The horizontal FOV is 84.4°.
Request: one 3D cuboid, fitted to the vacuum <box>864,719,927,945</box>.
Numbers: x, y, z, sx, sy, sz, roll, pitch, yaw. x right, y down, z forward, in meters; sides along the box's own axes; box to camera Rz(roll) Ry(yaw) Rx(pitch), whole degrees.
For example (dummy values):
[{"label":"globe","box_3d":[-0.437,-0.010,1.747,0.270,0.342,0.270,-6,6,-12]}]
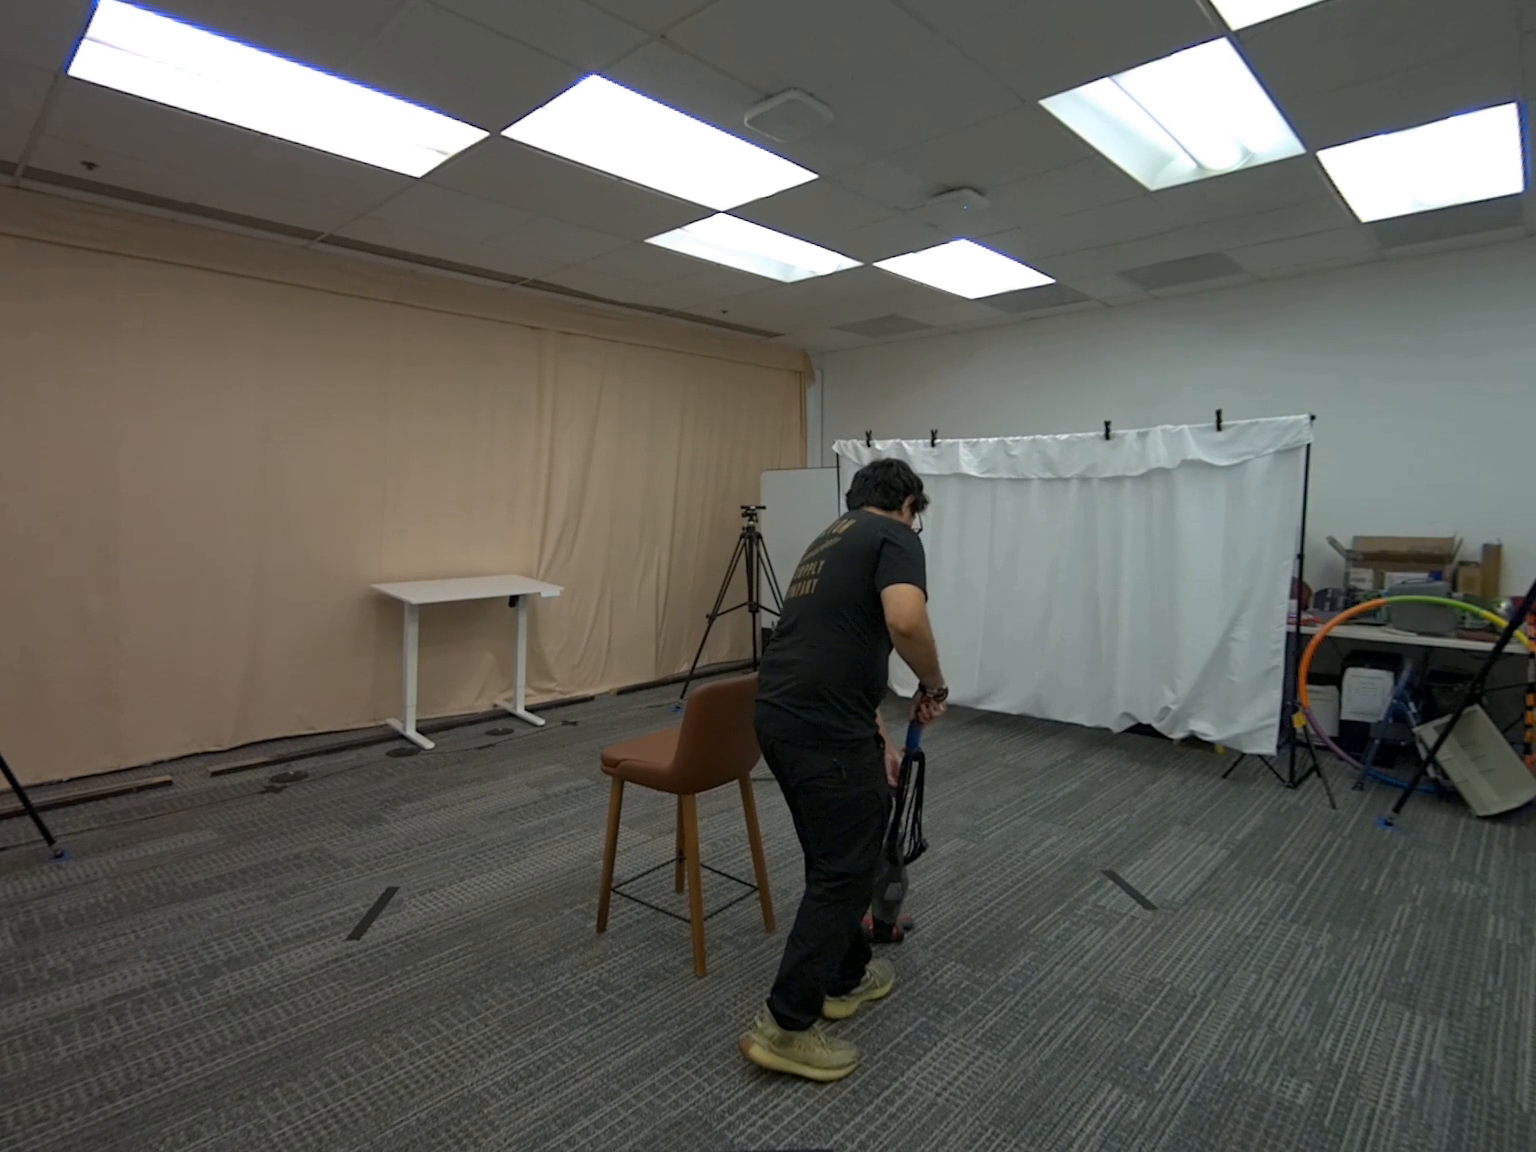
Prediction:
[{"label":"vacuum","box_3d":[0.385,0.745,2.428,0.252,1.031,0.147,1,37,-2]}]
